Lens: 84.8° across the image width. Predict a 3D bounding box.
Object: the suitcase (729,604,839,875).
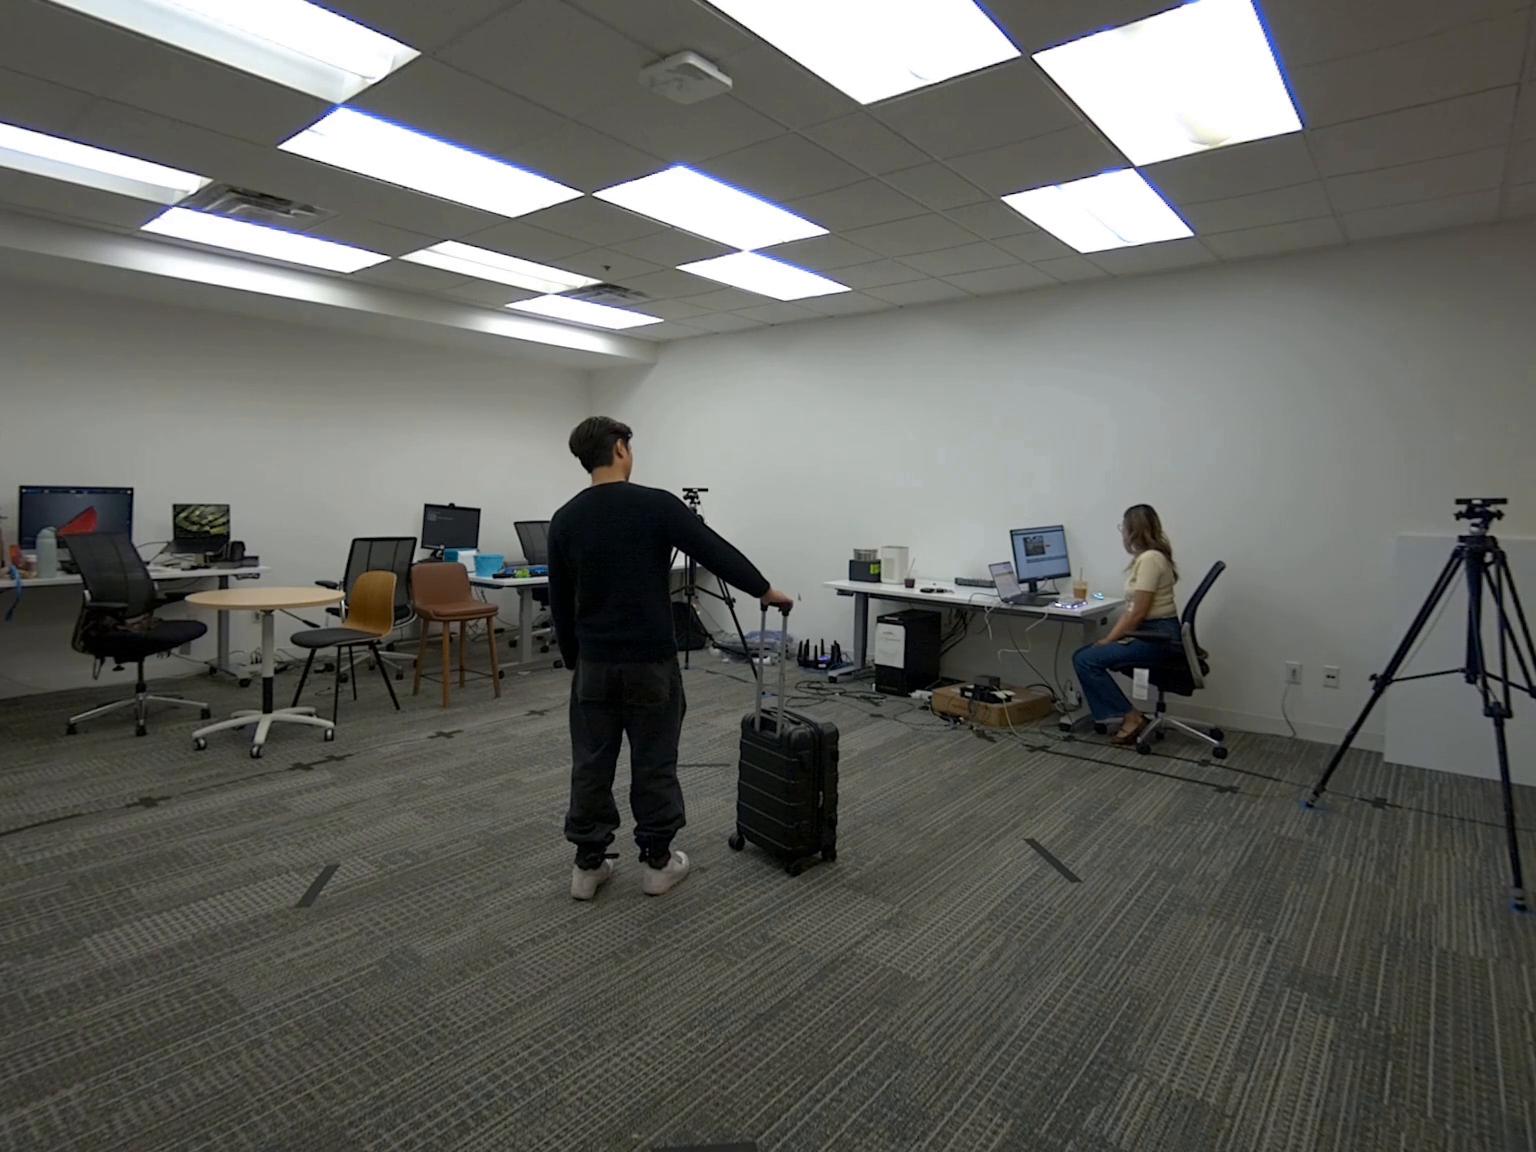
[{"bbox_3d":[0.076,0.586,3.239,0.249,0.976,0.397,2,3,-38],"label":"suitcase"}]
